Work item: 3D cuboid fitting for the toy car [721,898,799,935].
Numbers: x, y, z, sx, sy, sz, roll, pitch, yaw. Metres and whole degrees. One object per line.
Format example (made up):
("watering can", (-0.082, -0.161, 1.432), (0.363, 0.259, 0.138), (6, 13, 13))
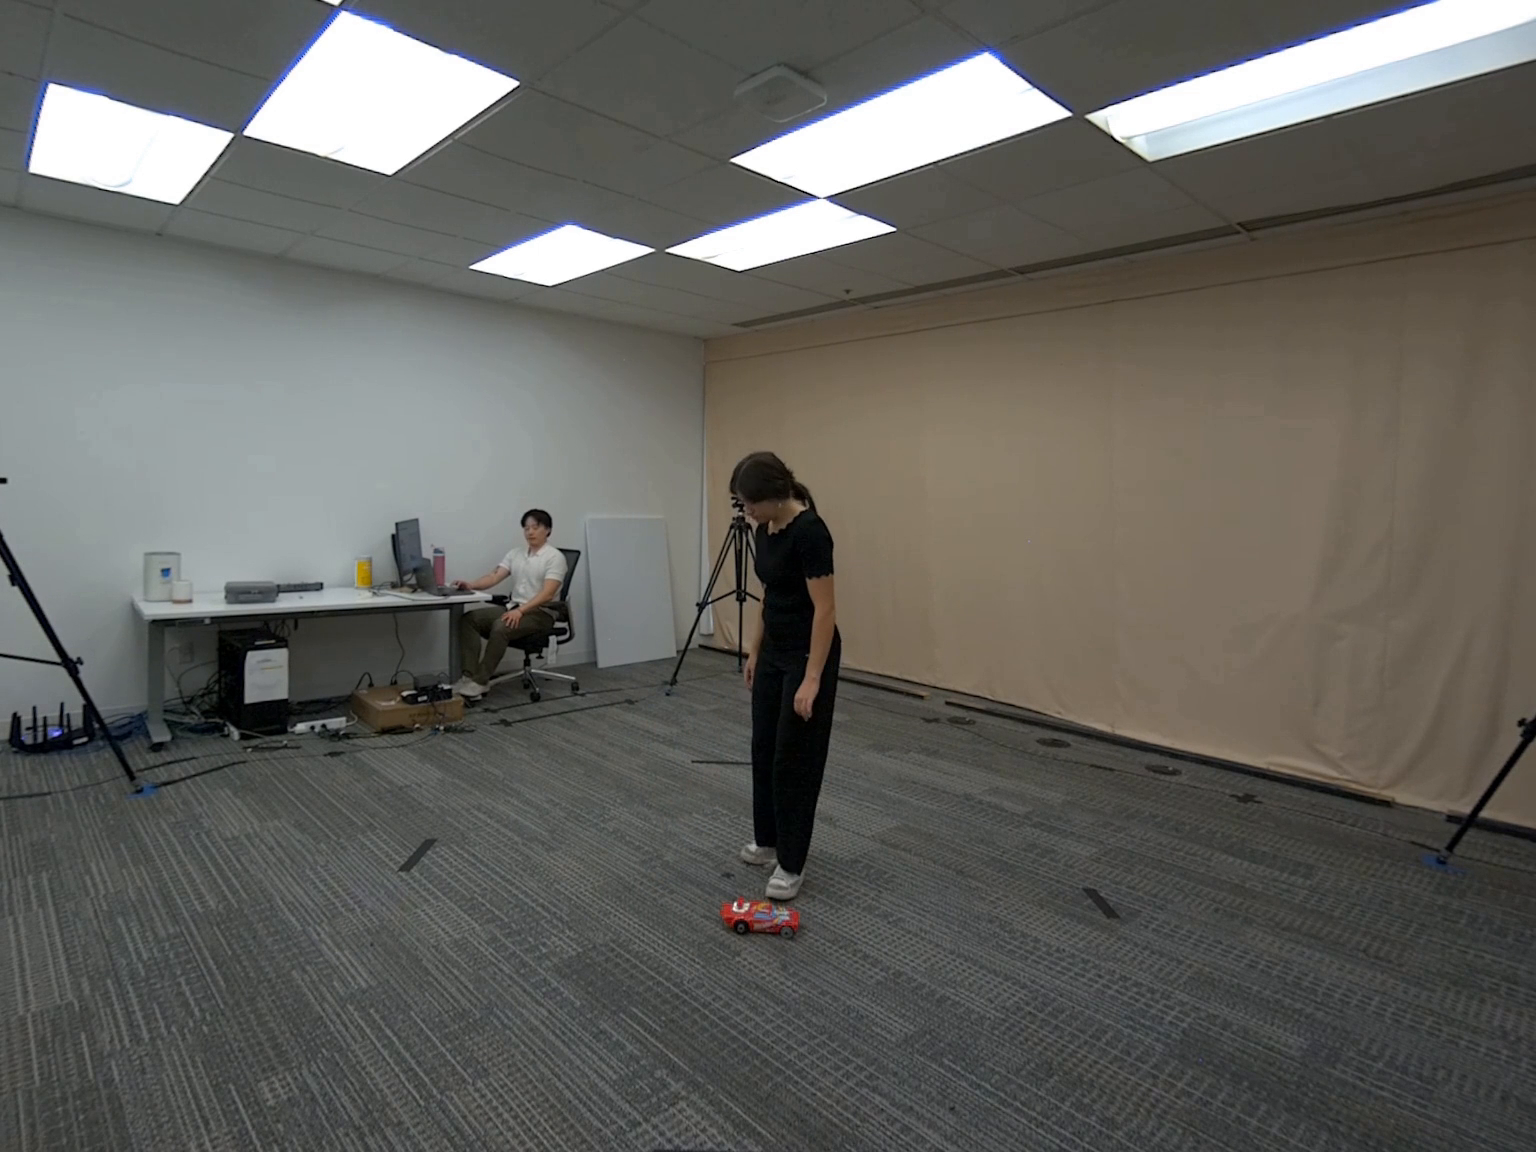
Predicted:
("toy car", (-0.039, 1.113, 2.724), (0.256, 0.083, 0.130), (13, 5, 6))
